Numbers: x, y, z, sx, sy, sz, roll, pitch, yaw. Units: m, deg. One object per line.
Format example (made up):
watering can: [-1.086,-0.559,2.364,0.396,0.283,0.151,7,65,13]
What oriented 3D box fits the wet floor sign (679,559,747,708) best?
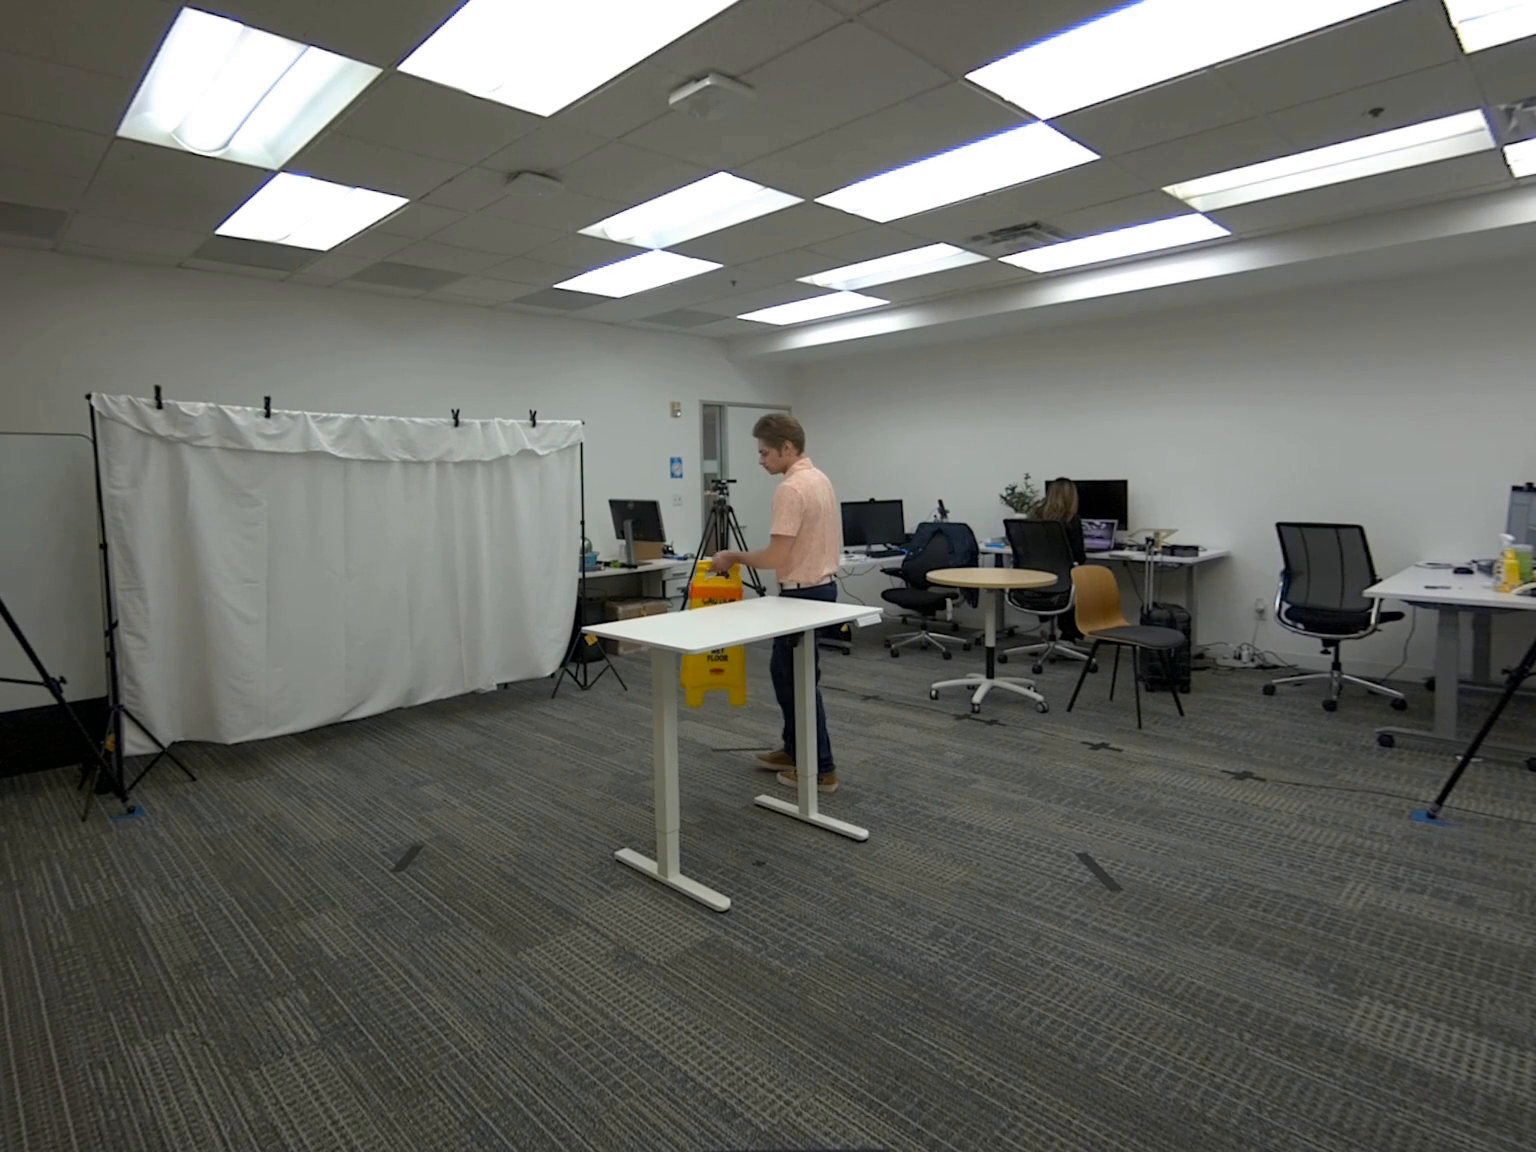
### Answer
wet floor sign: [-0.234,0.242,3.924,0.279,0.638,0.296,-1,14,-11]
